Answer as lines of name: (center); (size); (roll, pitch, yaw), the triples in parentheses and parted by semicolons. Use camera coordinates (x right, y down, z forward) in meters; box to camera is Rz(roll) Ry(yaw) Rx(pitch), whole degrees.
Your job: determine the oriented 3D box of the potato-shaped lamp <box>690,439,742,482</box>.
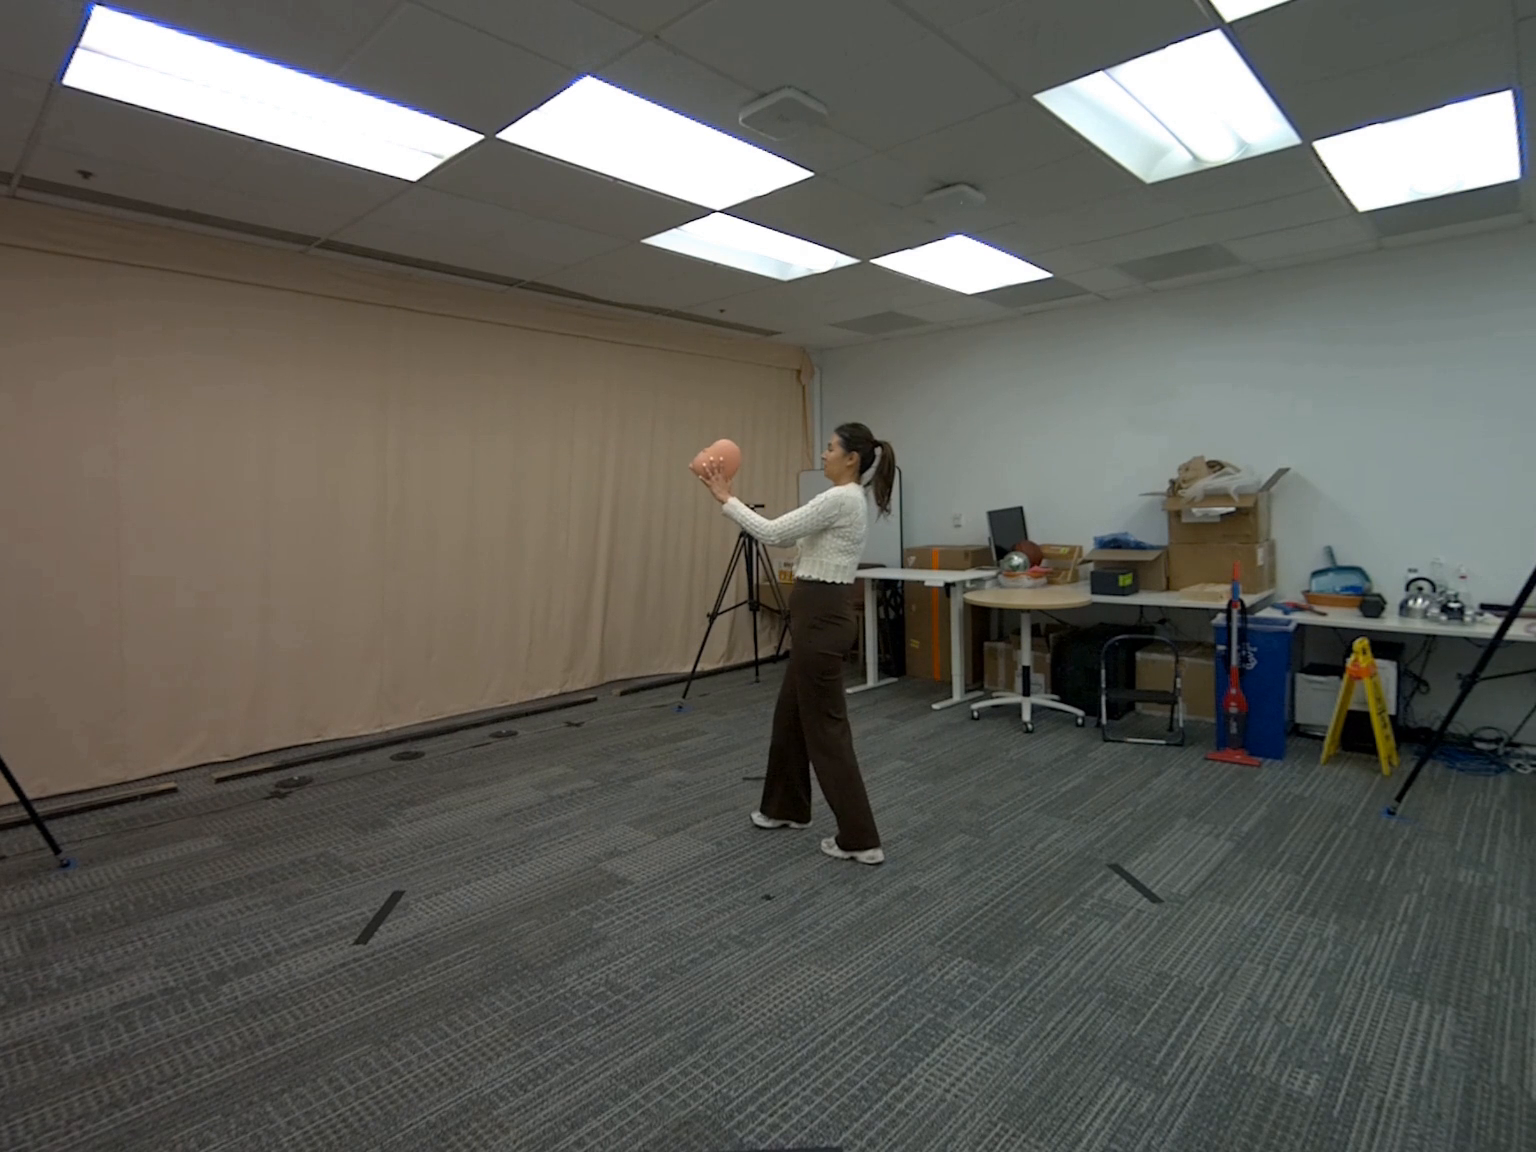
potato-shaped lamp: (-0.197, -0.475, 3.486); (0.176, 0.198, 0.160); (42, 10, 22)
